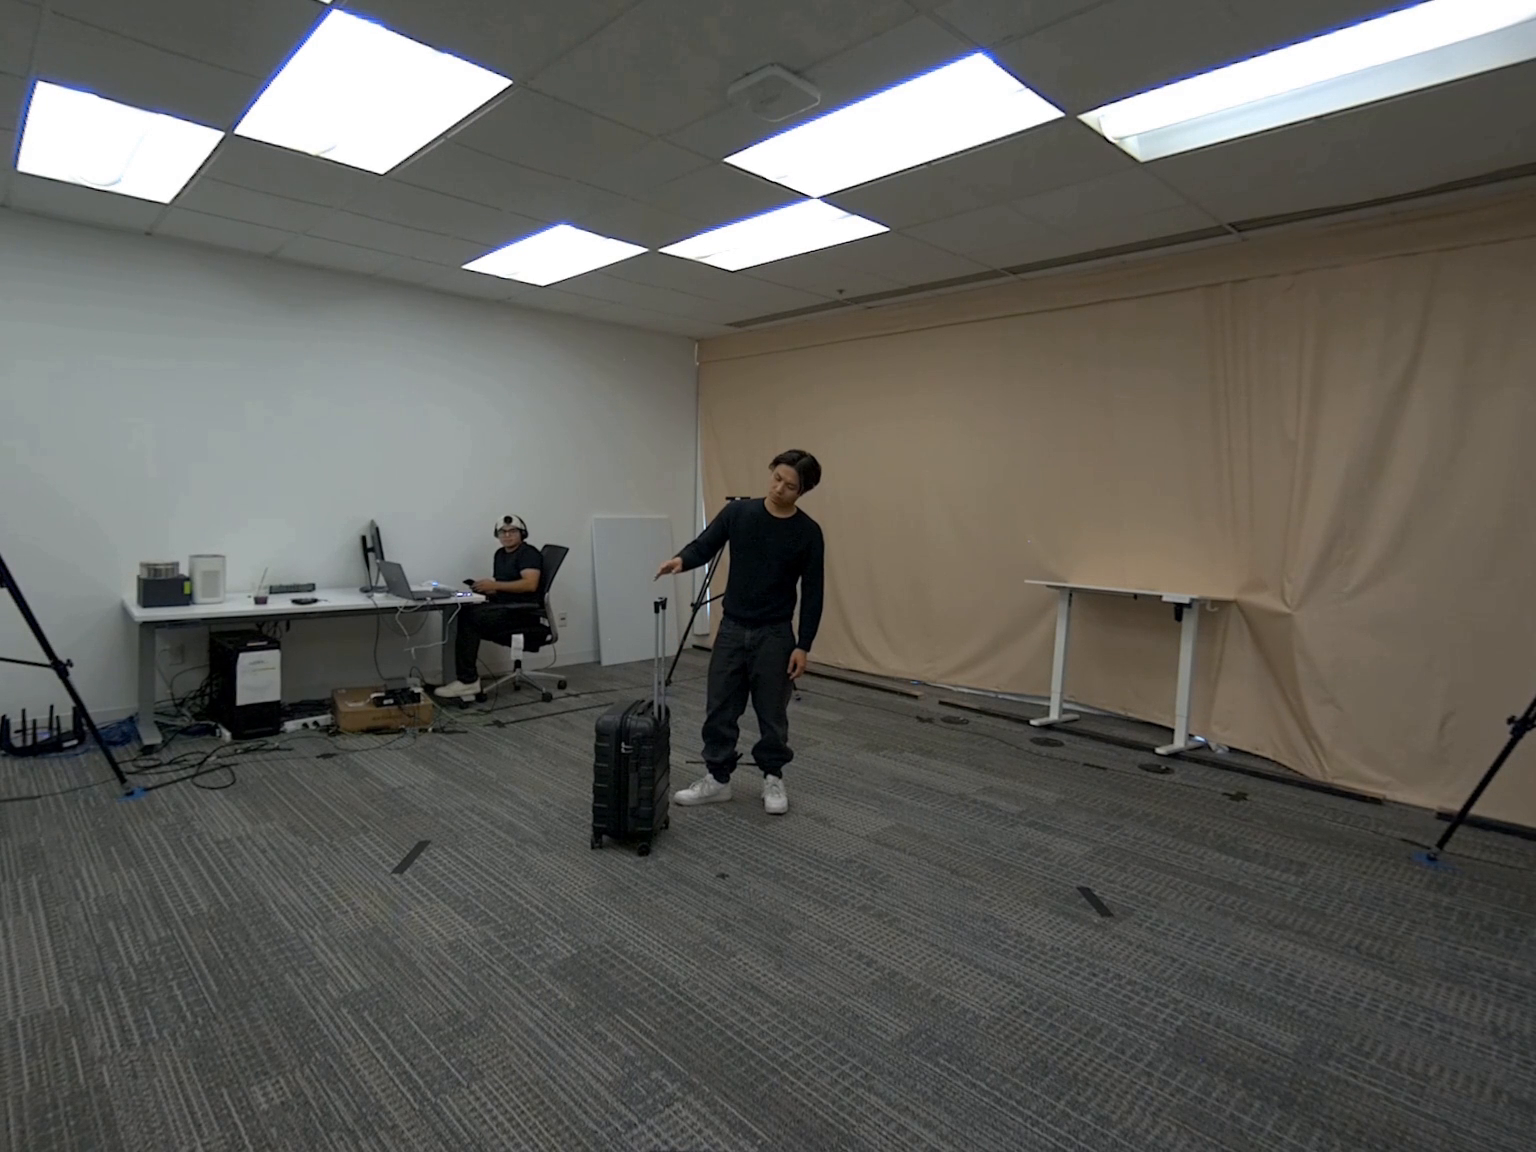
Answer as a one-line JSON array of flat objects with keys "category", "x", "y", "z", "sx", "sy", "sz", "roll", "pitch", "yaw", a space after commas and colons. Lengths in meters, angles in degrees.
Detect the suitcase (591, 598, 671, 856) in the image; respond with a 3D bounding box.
[{"category": "suitcase", "x": -0.558, "y": 0.590, "z": 3.417, "sx": 0.258, "sy": 0.977, "sz": 0.382, "roll": 0, "pitch": 2, "yaw": 6}]
